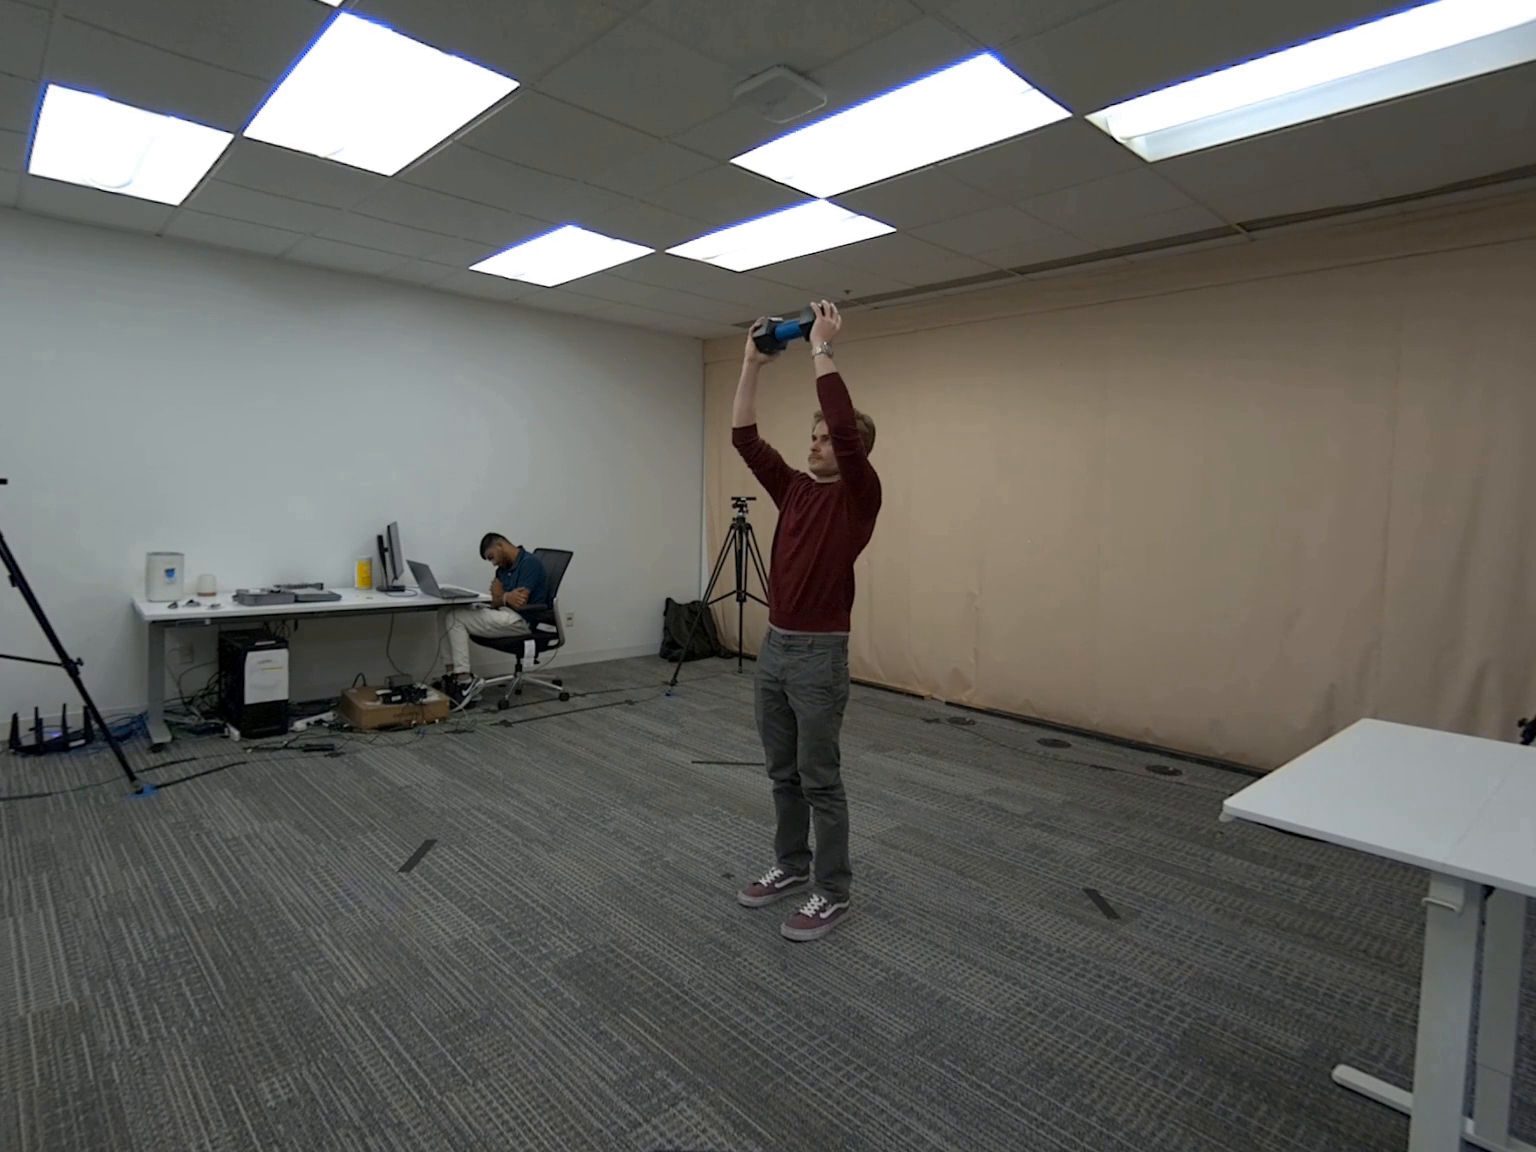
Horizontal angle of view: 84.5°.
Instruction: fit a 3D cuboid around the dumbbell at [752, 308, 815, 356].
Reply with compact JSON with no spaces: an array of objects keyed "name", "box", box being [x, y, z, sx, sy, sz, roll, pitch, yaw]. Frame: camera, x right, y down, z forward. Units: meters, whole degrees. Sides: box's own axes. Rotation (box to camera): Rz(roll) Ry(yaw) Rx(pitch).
[{"name":"dumbbell","box":[0.077,-0.802,2.749,0.300,0.124,0.105,0,-21,47]}]
